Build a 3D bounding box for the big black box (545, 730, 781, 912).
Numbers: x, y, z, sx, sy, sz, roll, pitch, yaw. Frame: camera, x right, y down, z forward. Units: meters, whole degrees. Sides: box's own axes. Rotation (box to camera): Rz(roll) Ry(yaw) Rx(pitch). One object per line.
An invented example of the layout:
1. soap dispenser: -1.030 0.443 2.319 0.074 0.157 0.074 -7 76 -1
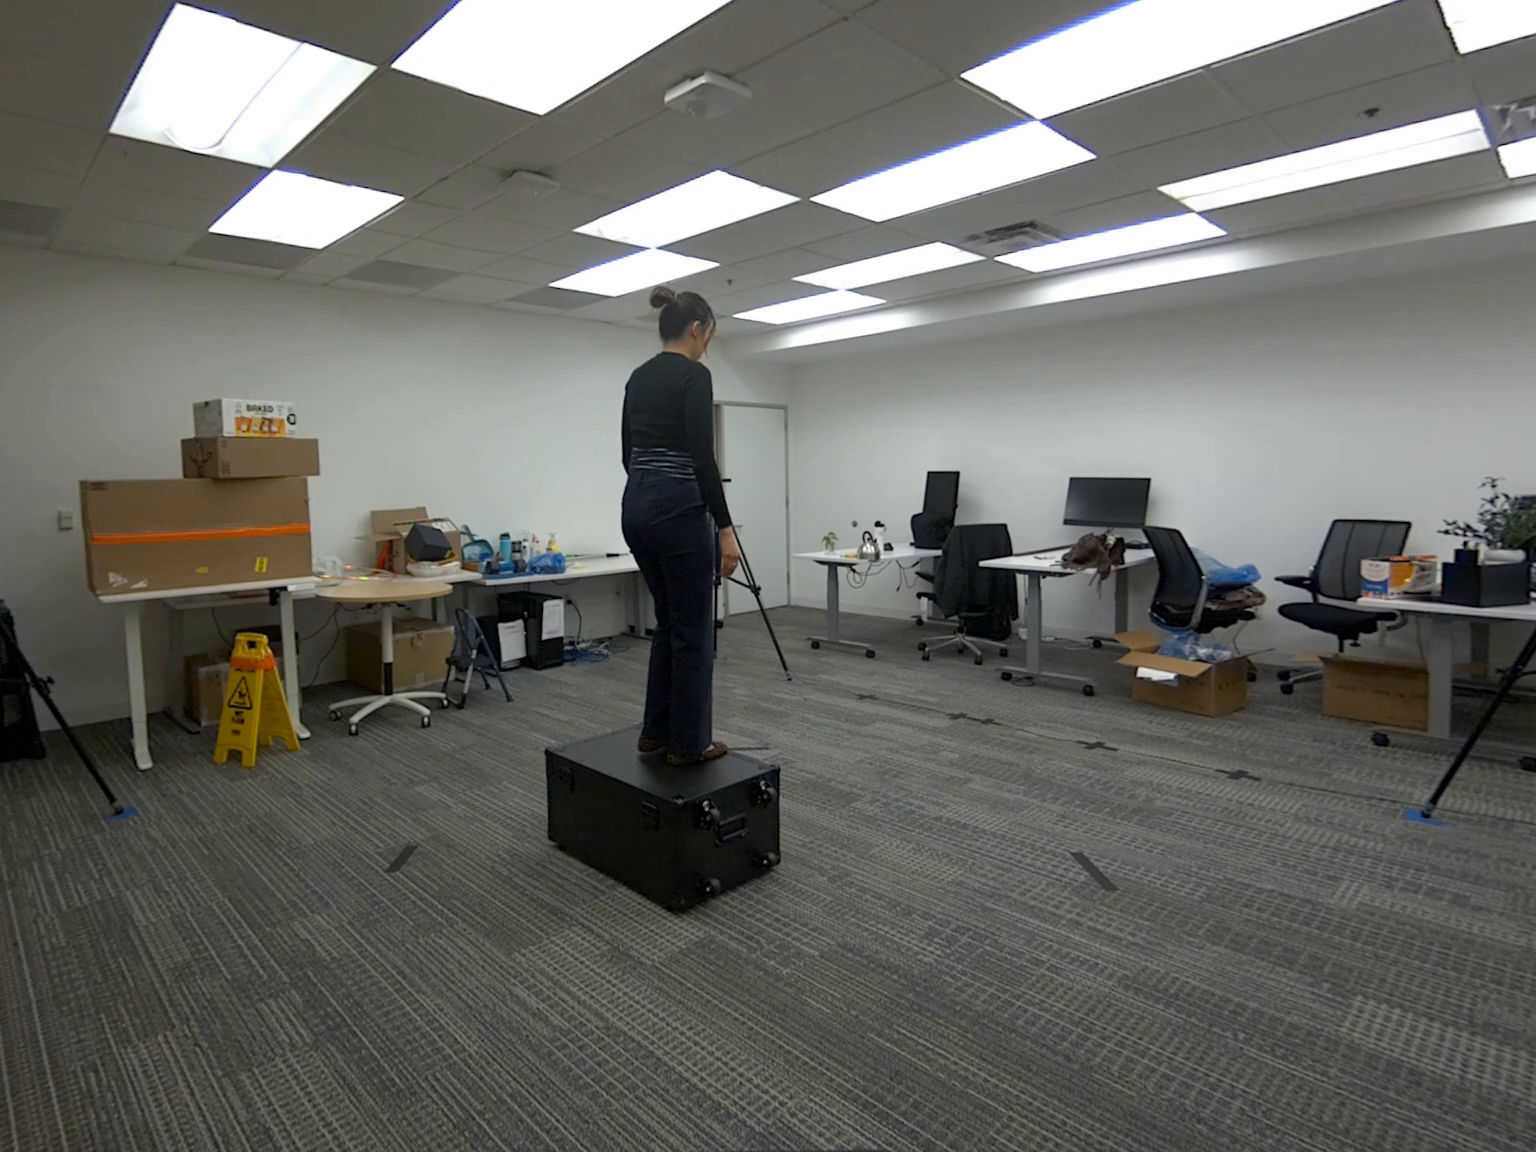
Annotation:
1. big black box: -0.418 0.851 3.185 0.507 0.394 0.888 -6 8 -44
